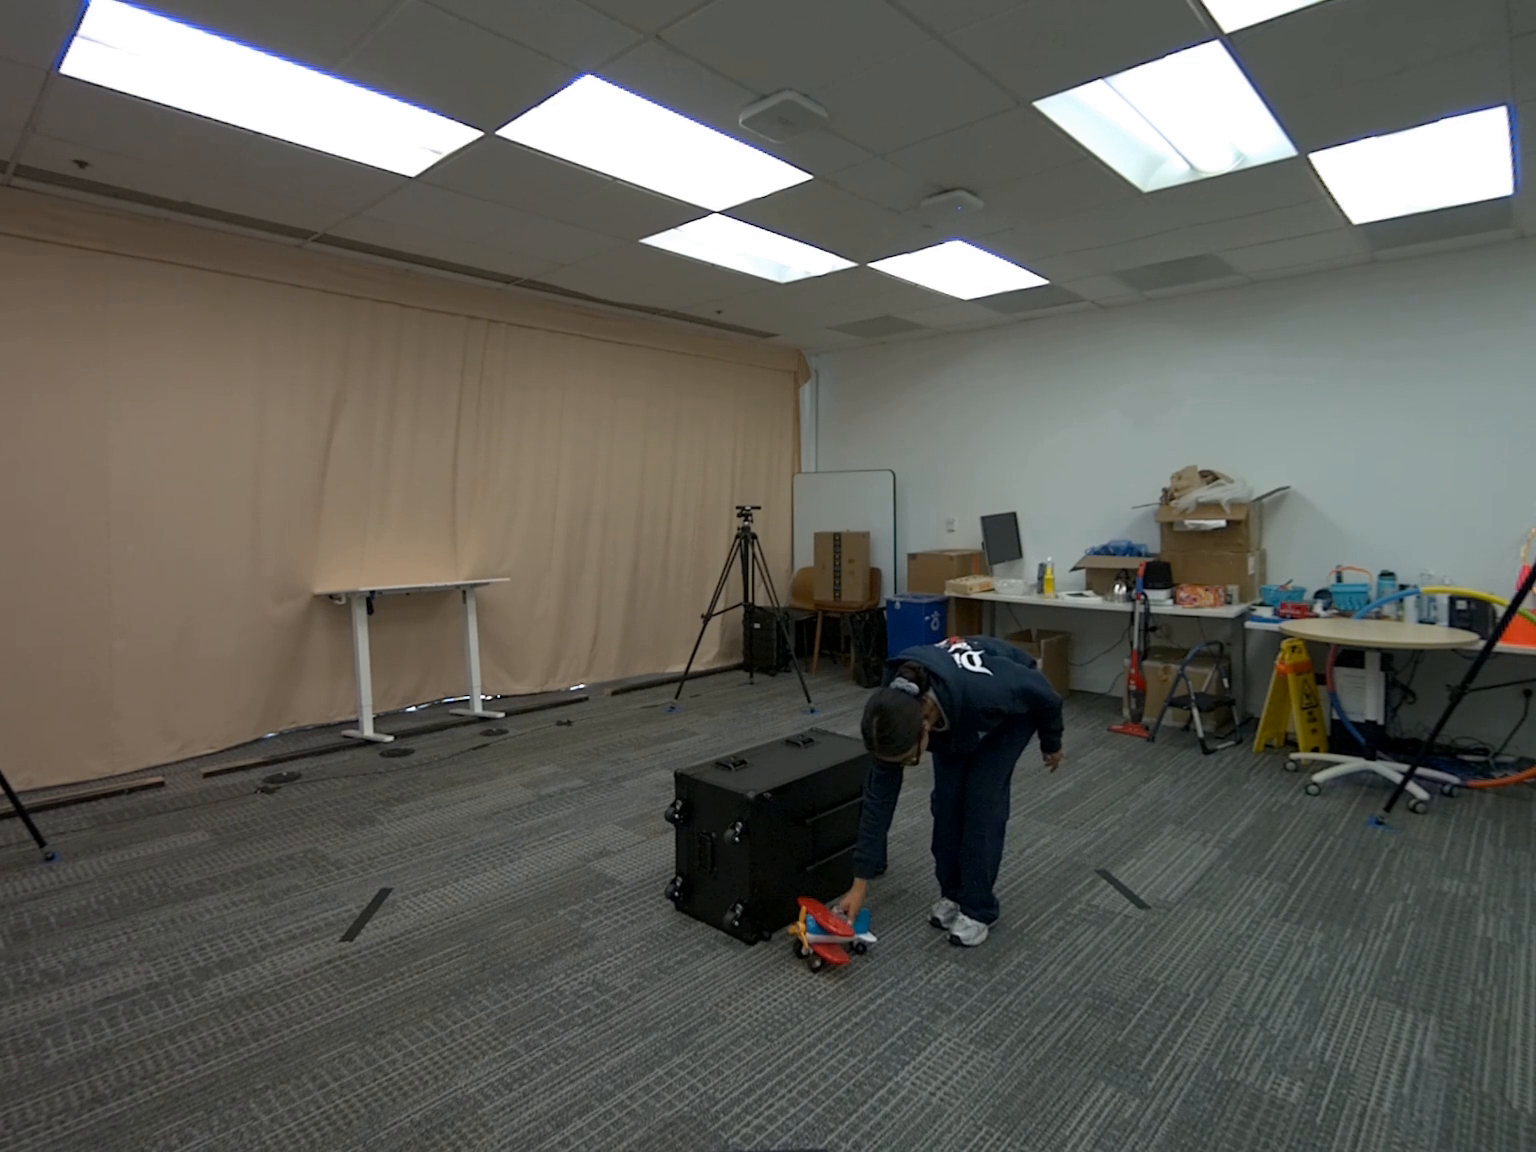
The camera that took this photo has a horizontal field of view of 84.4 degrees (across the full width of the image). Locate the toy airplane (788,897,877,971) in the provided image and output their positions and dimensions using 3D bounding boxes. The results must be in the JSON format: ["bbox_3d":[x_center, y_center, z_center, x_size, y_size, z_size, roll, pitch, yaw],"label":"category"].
[{"bbox_3d":[0.204,1.089,2.607,0.259,0.156,0.252,3,9,35],"label":"toy airplane"}]
